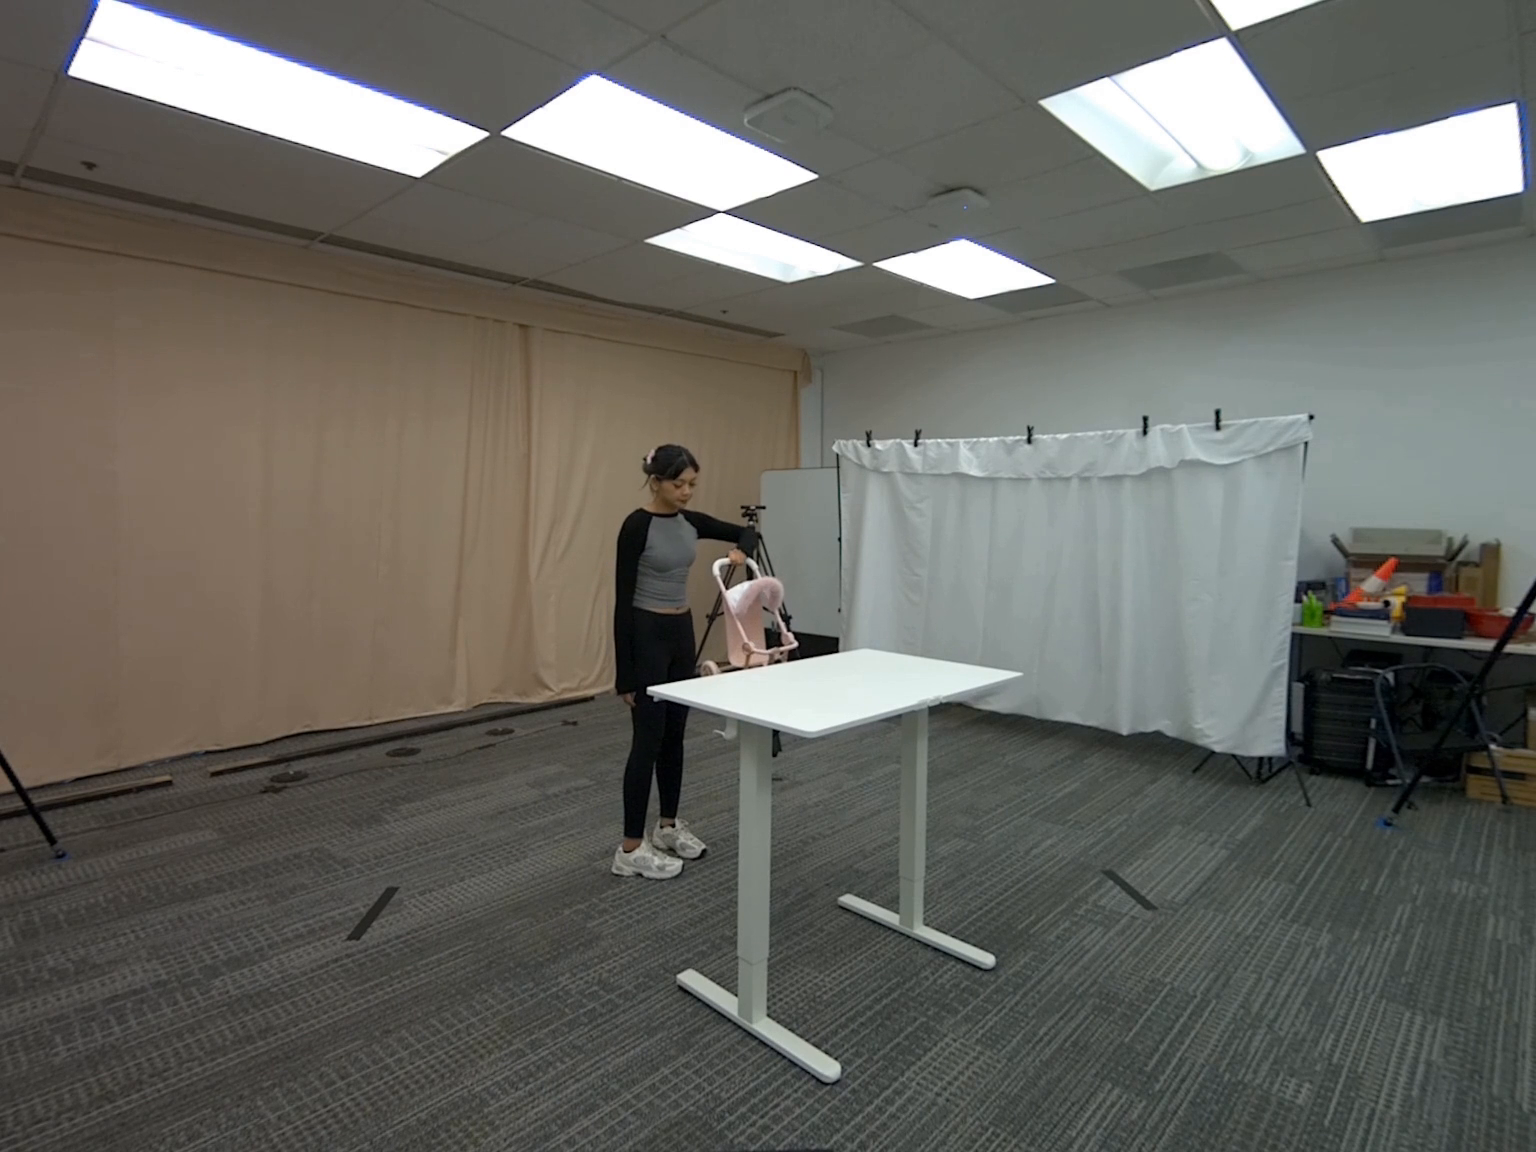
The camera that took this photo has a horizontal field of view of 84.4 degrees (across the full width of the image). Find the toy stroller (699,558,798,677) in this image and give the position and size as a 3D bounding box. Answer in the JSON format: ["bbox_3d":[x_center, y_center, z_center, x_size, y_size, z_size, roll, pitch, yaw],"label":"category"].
[{"bbox_3d":[-0.049,0.226,3.096,0.273,0.531,0.353,-5,14,-36],"label":"toy stroller"}]
